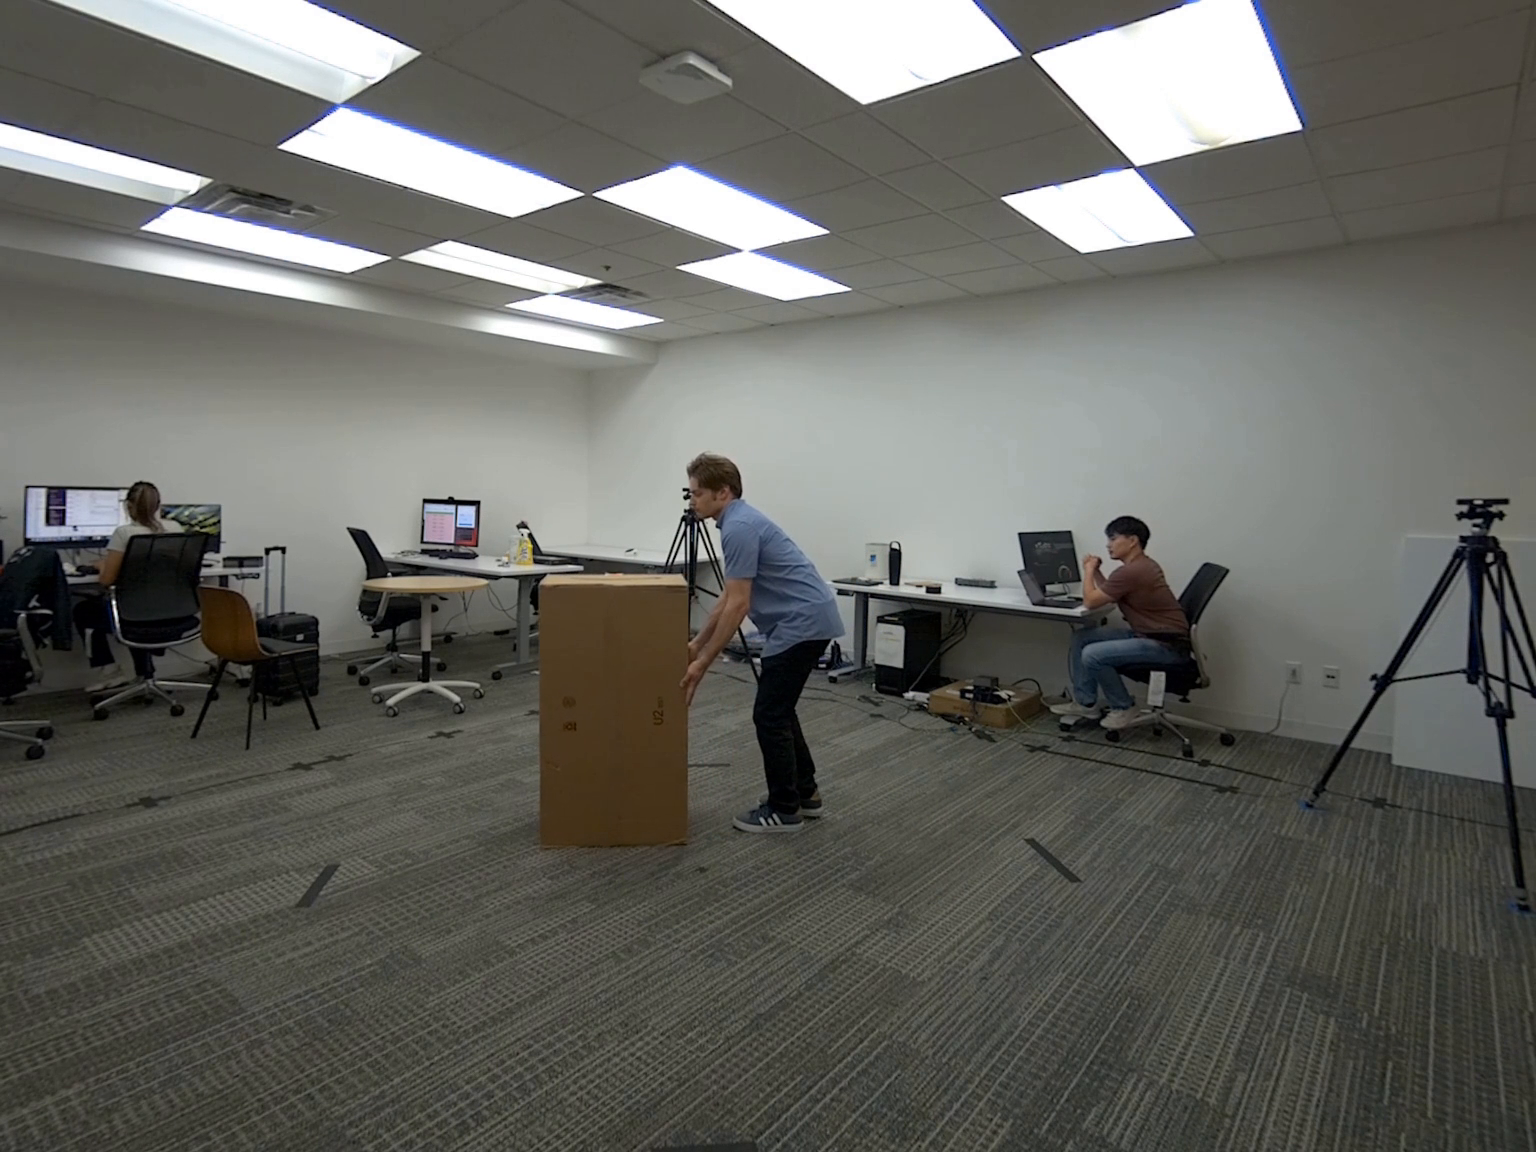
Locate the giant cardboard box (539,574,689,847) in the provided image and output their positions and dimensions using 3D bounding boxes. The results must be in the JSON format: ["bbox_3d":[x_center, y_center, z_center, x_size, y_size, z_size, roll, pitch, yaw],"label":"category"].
[{"bbox_3d":[-0.638,0.516,3.480,0.574,1.023,0.430,0,3,-7],"label":"giant cardboard box"}]
